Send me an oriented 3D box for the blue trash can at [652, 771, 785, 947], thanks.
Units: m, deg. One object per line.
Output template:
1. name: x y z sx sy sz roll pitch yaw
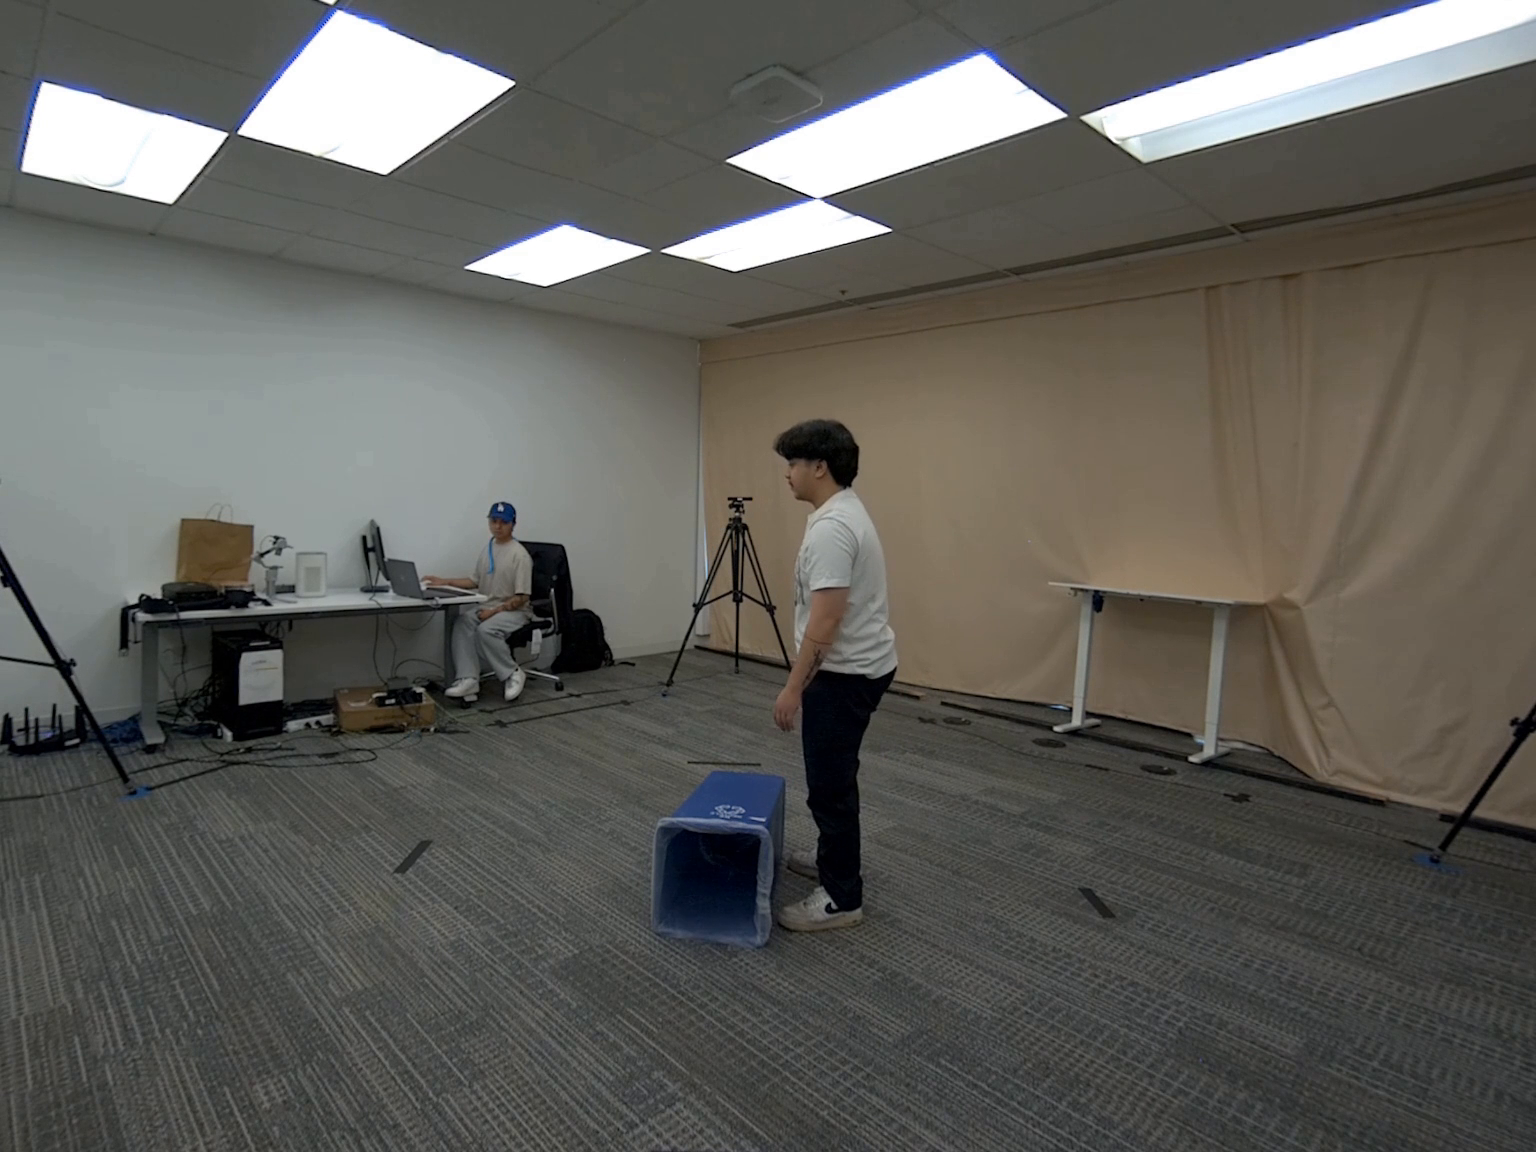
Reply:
1. blue trash can: -0.144 0.952 2.982 0.376 0.378 0.709 2 2 7
